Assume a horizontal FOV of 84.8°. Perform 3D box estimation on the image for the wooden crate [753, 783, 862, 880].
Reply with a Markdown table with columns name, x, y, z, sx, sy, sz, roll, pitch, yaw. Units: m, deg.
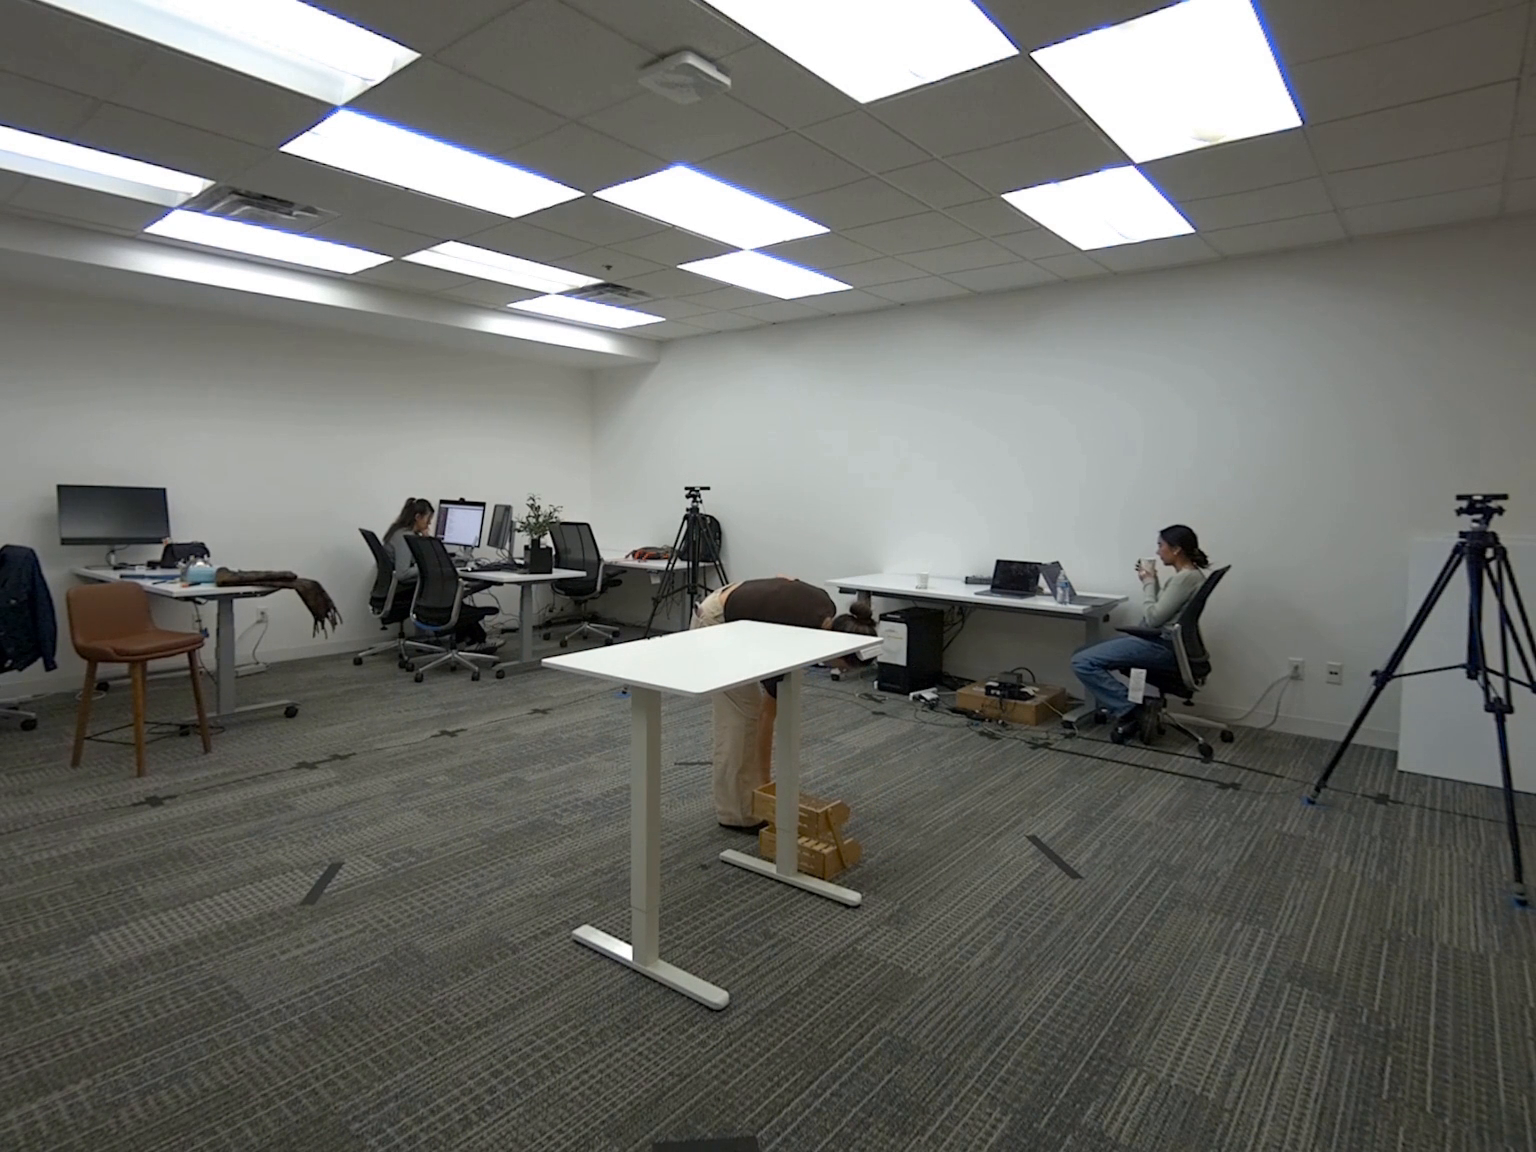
| name | x | y | z | sx | sy | sz | roll | pitch | yaw |
| --- | --- | --- | --- | --- | --- | --- | --- | --- | --- |
| wooden crate | 0.139 | 0.927 | 3.200 | 0.335 | 0.272 | 0.293 | 5 | 7 | 38 |
